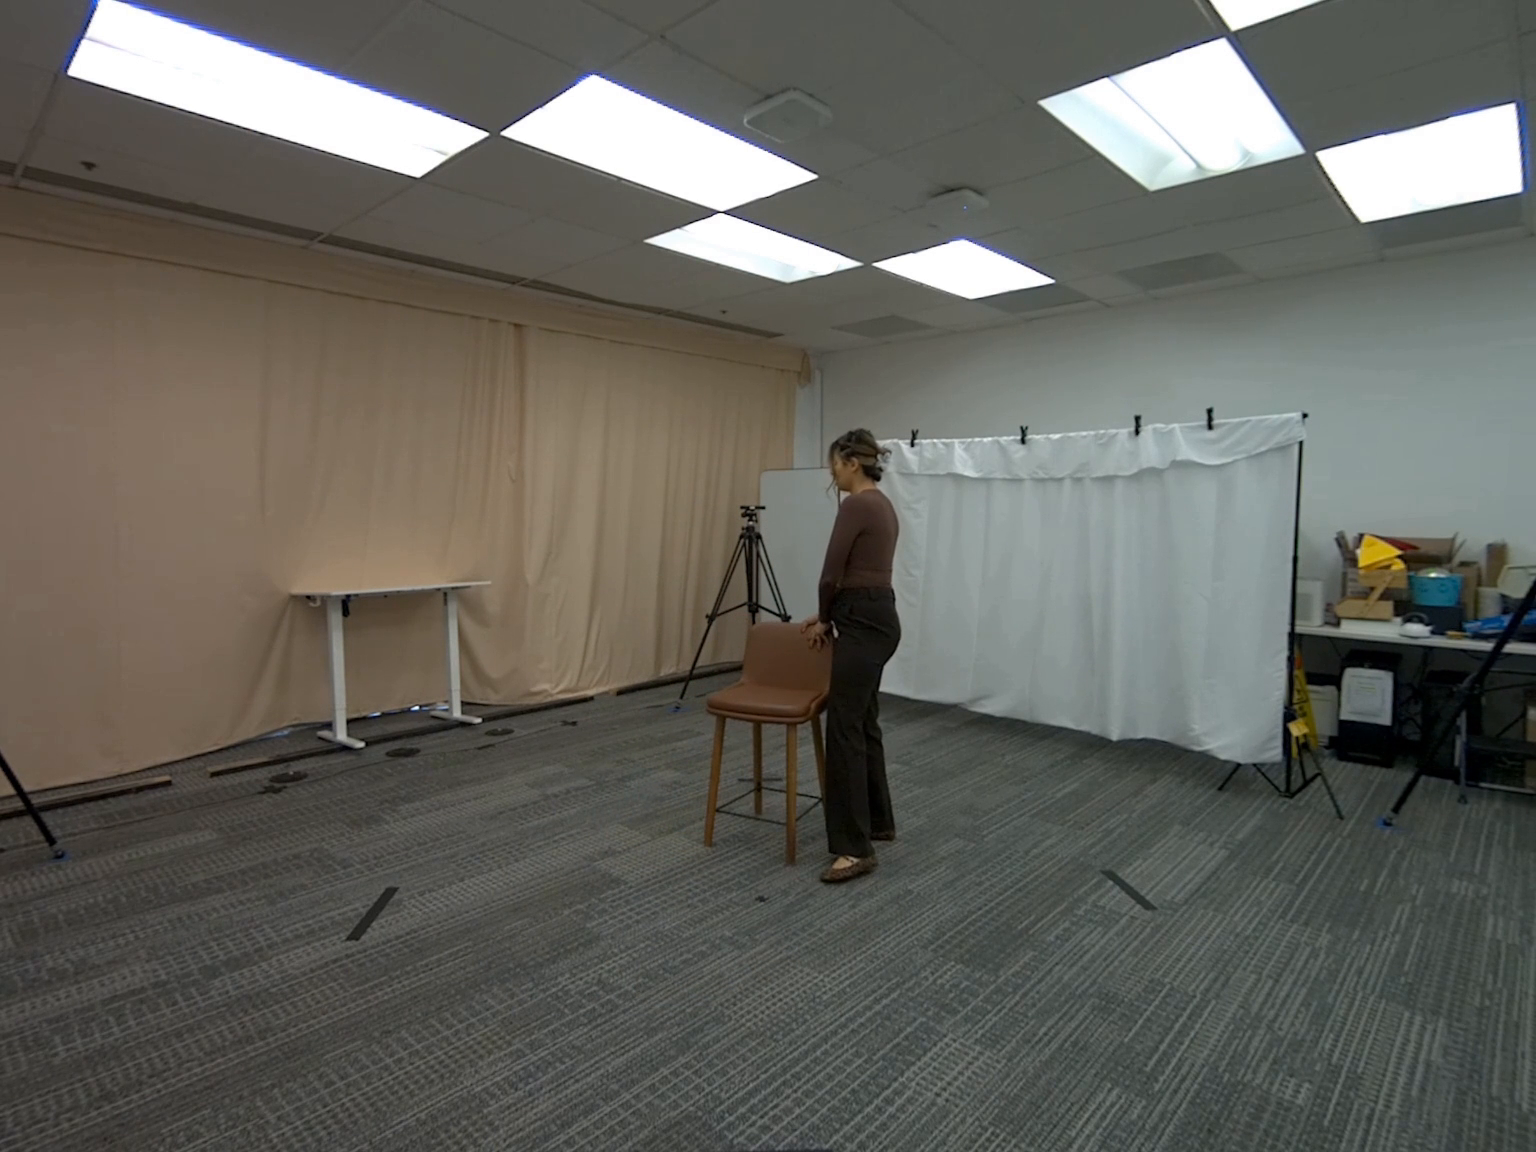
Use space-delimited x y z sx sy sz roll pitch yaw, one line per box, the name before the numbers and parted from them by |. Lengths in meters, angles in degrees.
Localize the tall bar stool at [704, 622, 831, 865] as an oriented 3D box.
tall bar stool | 0.020 0.664 3.534 0.469 0.889 0.455 1 1 29
